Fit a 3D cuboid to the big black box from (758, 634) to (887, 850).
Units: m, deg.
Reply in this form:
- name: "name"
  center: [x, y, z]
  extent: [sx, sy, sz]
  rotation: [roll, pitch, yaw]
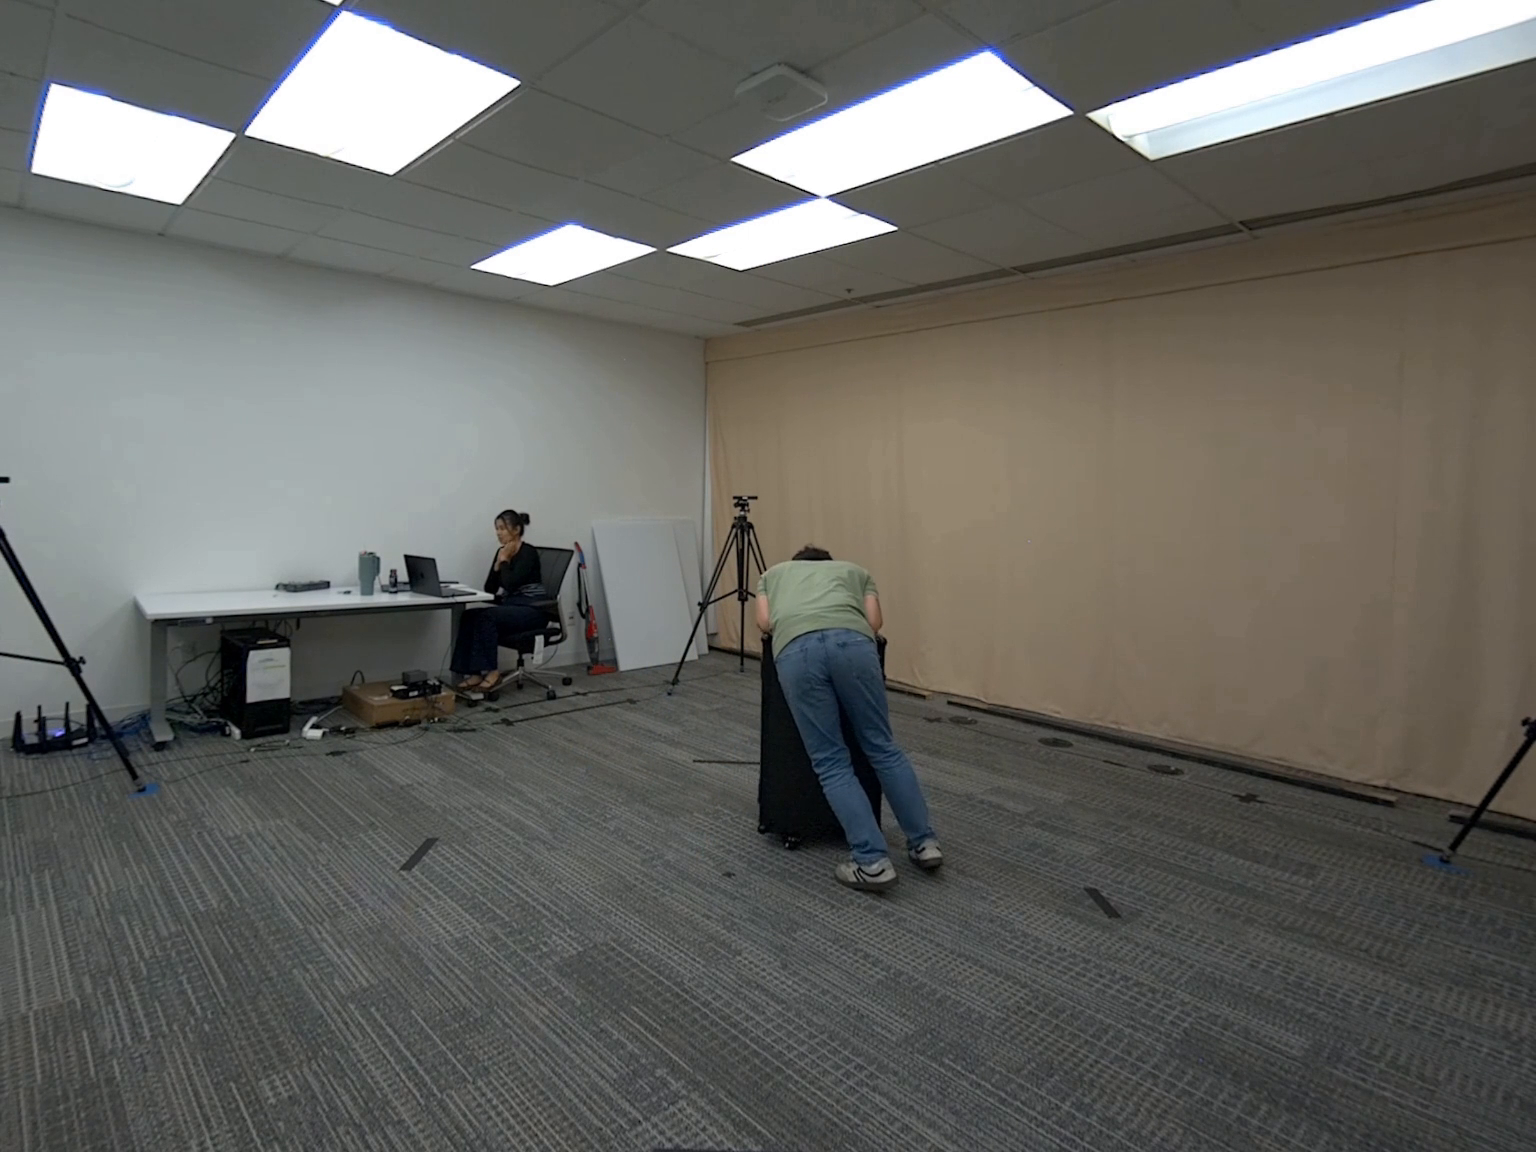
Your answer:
- name: "big black box"
  center: [0.193, 0.654, 3.499]
  extent: [0.521, 0.860, 0.397]
  rotation: [1, 2, 0]
